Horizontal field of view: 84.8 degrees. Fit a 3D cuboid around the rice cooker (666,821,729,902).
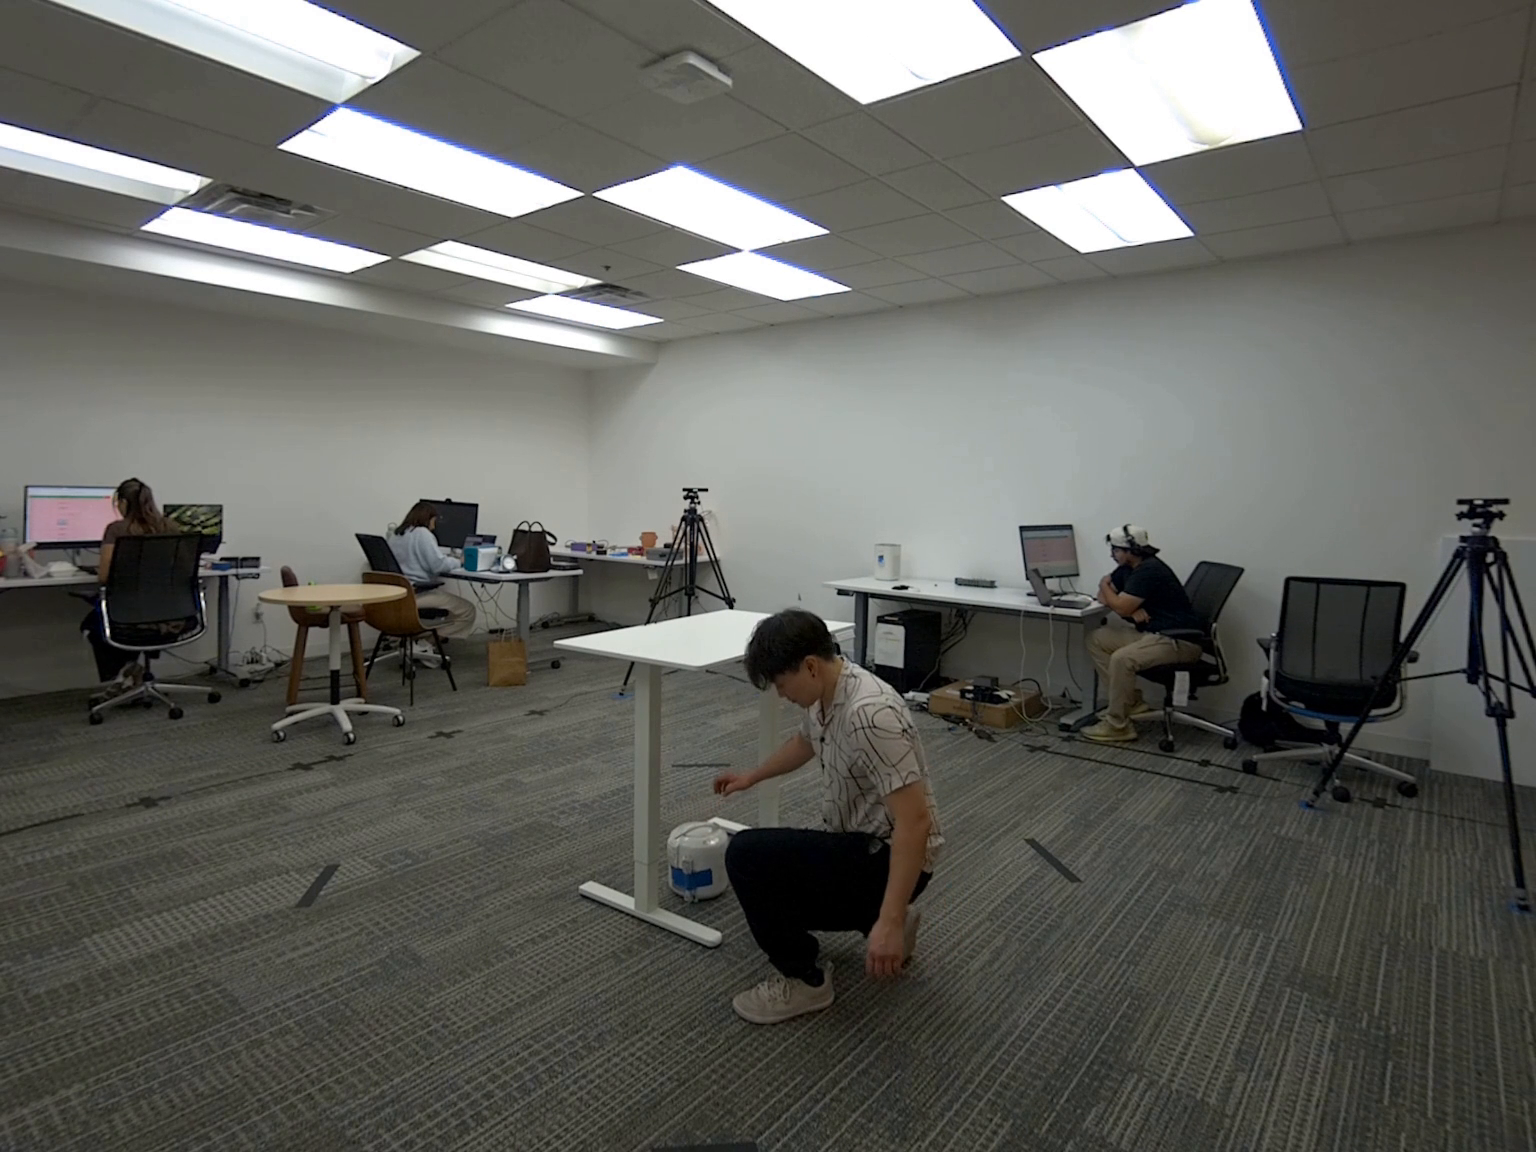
[{"bbox_3d":[-0.250,0.968,2.948,0.214,0.232,0.224,-1,5,-31],"label":"rice cooker"}]
